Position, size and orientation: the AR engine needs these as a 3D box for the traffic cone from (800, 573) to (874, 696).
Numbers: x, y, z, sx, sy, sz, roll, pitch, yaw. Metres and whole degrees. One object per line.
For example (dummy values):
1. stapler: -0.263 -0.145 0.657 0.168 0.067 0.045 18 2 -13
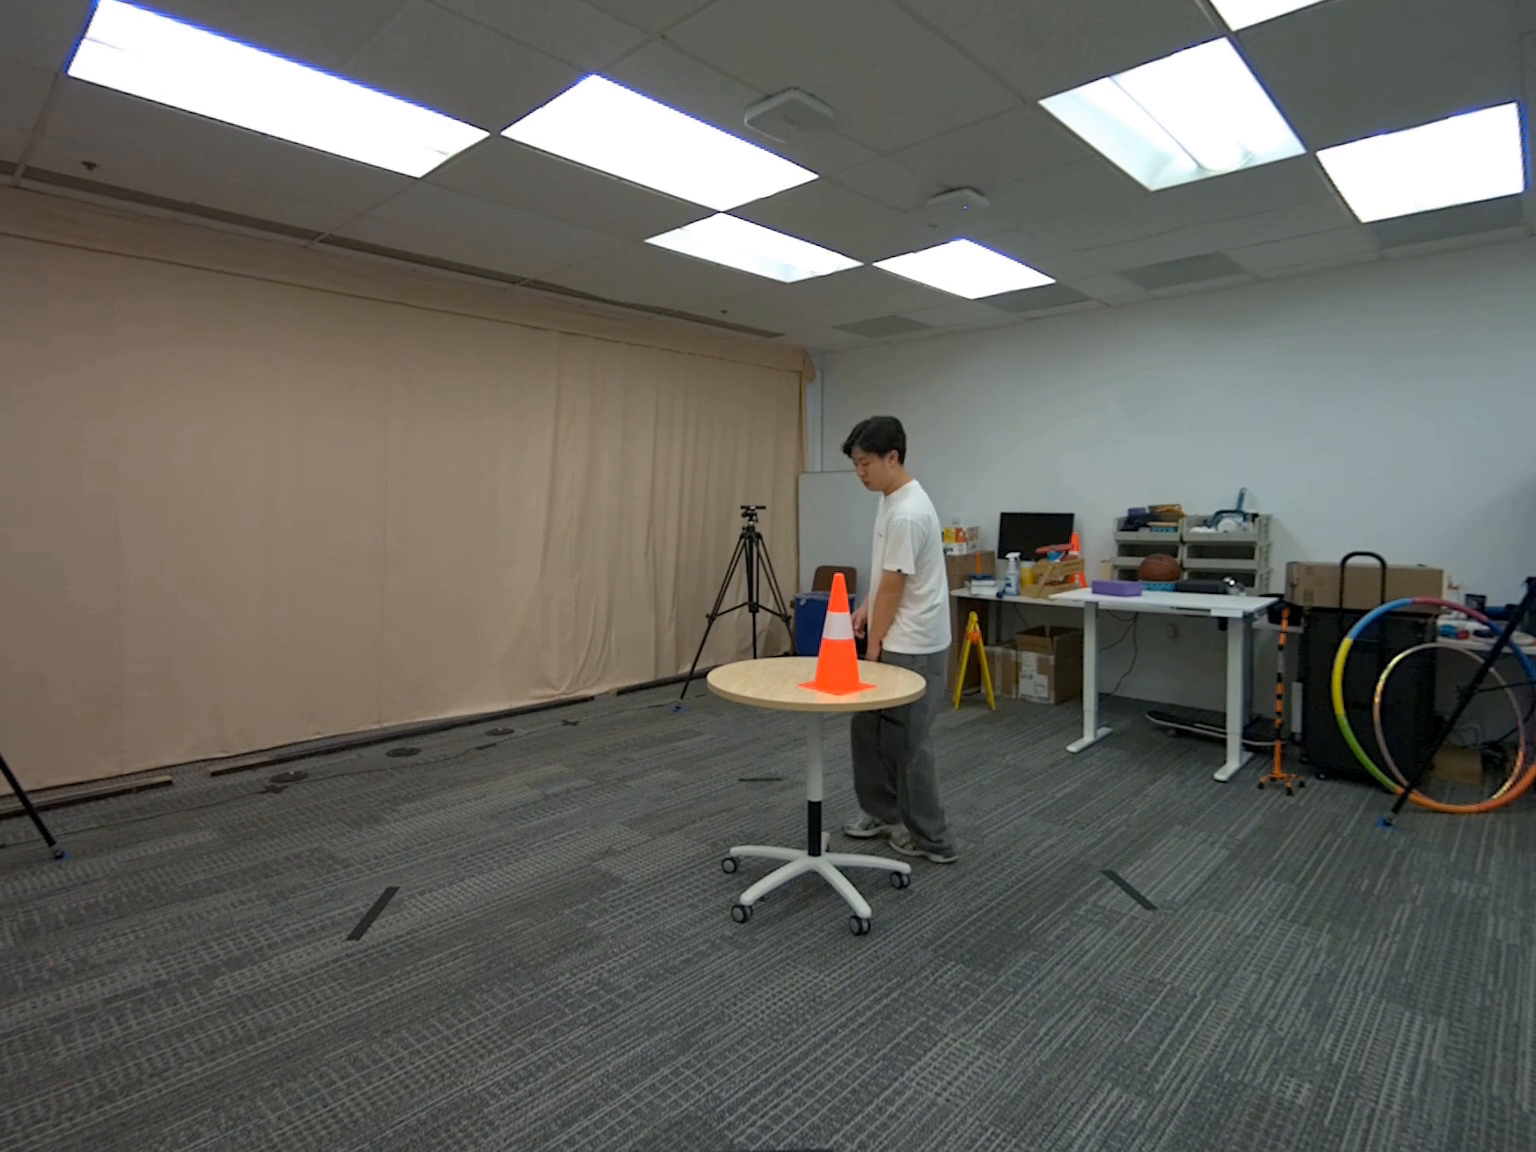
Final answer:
1. traffic cone: 0.247 0.189 2.835 0.212 0.383 0.197 4 4 38
